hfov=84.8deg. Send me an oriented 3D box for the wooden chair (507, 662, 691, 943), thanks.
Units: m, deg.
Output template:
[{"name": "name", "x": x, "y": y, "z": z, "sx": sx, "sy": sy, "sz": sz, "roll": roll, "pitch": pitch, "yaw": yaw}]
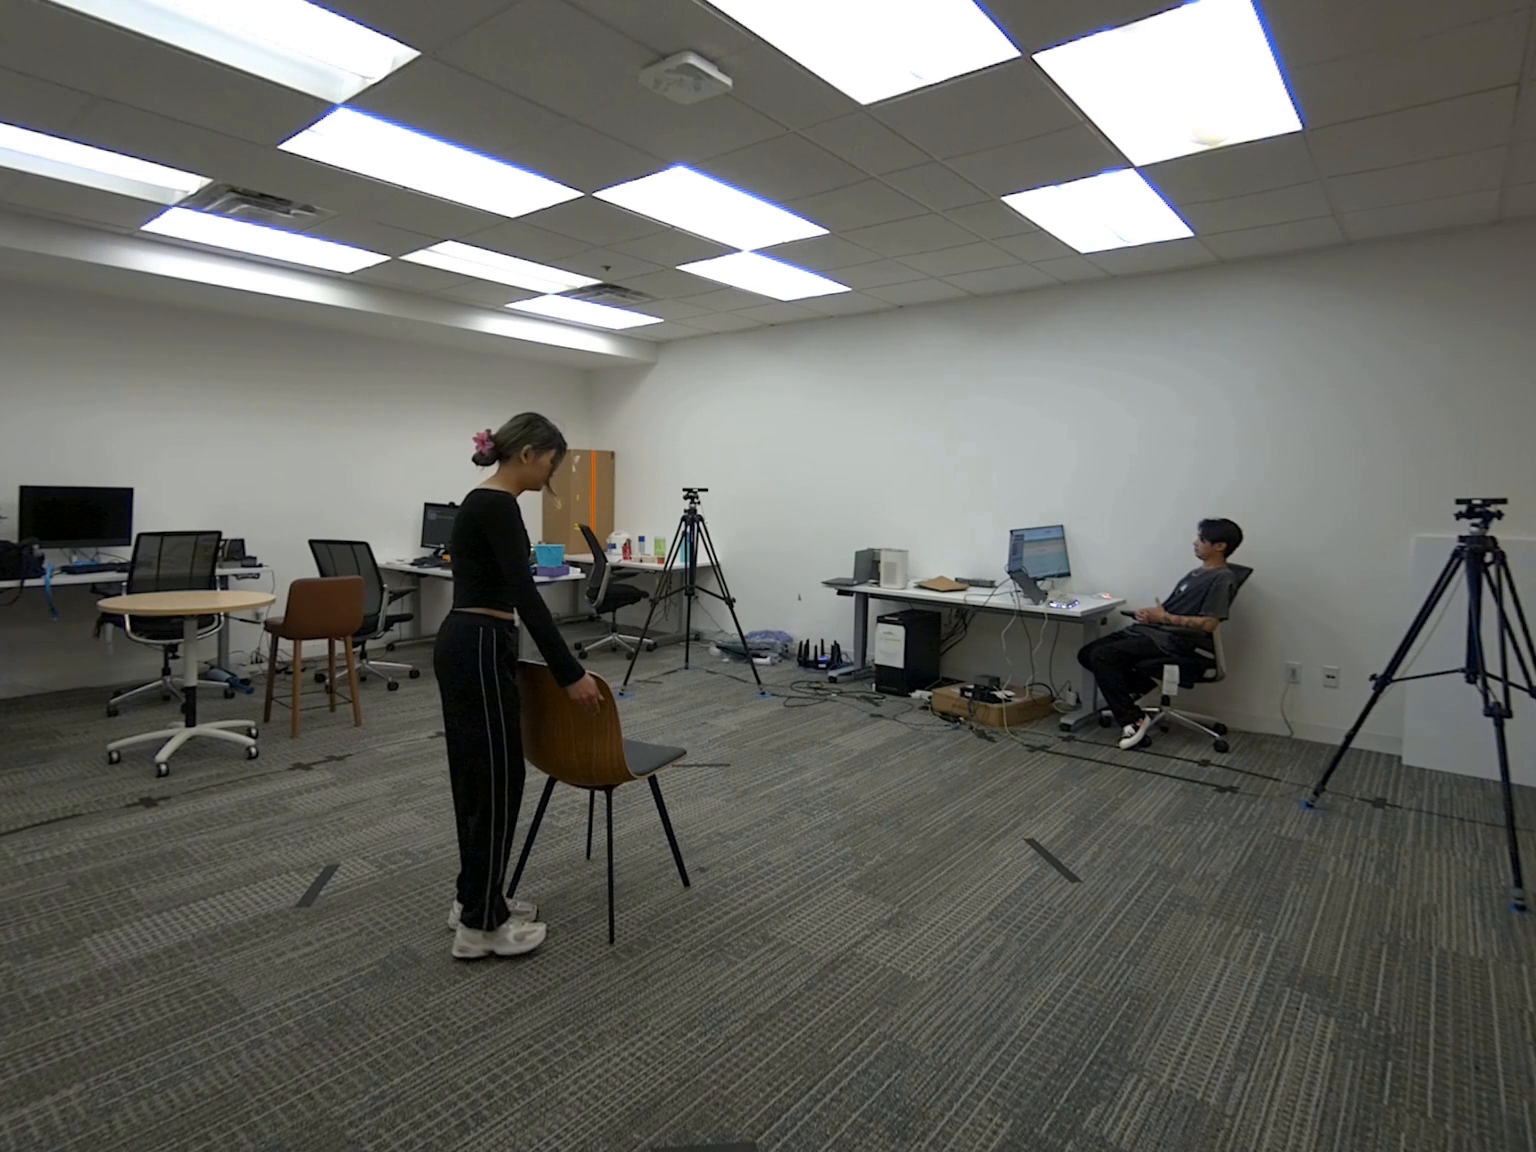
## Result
[{"name": "wooden chair", "x": -0.568, "y": 0.658, "z": 2.869, "sx": 0.492, "sy": 0.871, "sz": 0.512, "roll": 2, "pitch": 8, "yaw": 29}]
